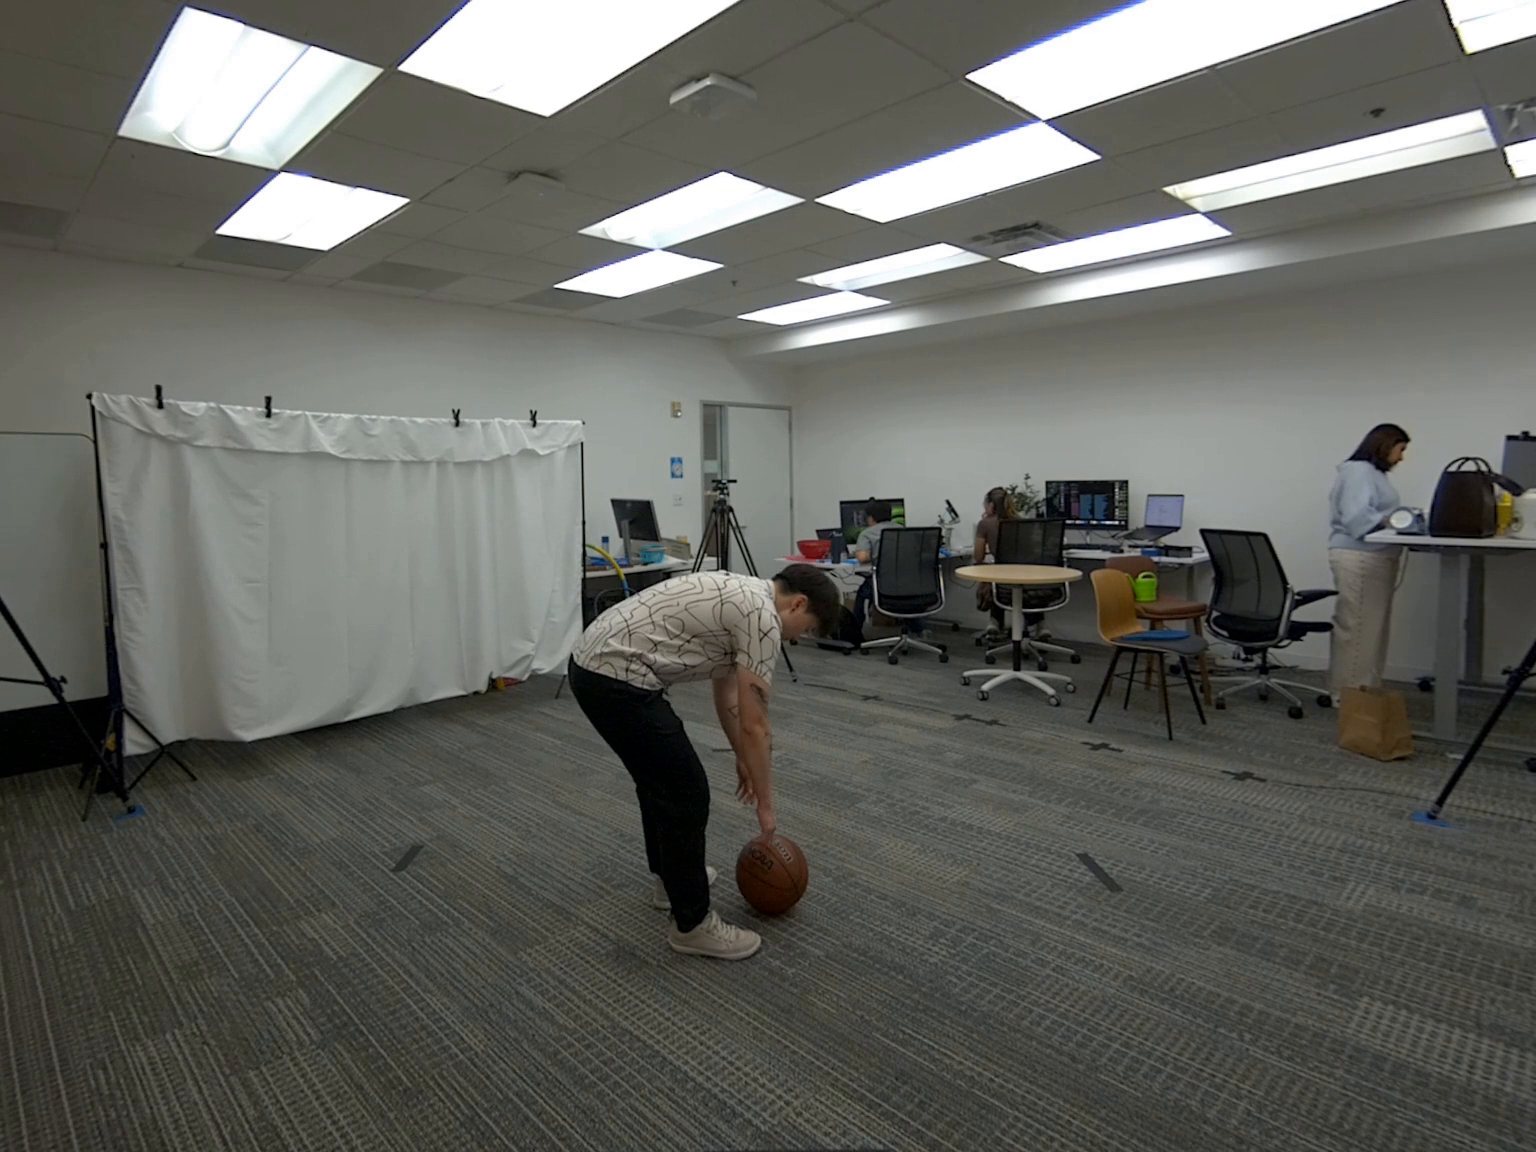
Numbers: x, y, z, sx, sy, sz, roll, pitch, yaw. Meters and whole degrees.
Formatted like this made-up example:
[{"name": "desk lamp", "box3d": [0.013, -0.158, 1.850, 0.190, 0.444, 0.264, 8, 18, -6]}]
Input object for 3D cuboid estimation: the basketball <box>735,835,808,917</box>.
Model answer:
[{"name": "basketball", "box3d": [0.014, 0.961, 2.774, 0.236, 0.235, 0.237, -1, 5, -2]}]
